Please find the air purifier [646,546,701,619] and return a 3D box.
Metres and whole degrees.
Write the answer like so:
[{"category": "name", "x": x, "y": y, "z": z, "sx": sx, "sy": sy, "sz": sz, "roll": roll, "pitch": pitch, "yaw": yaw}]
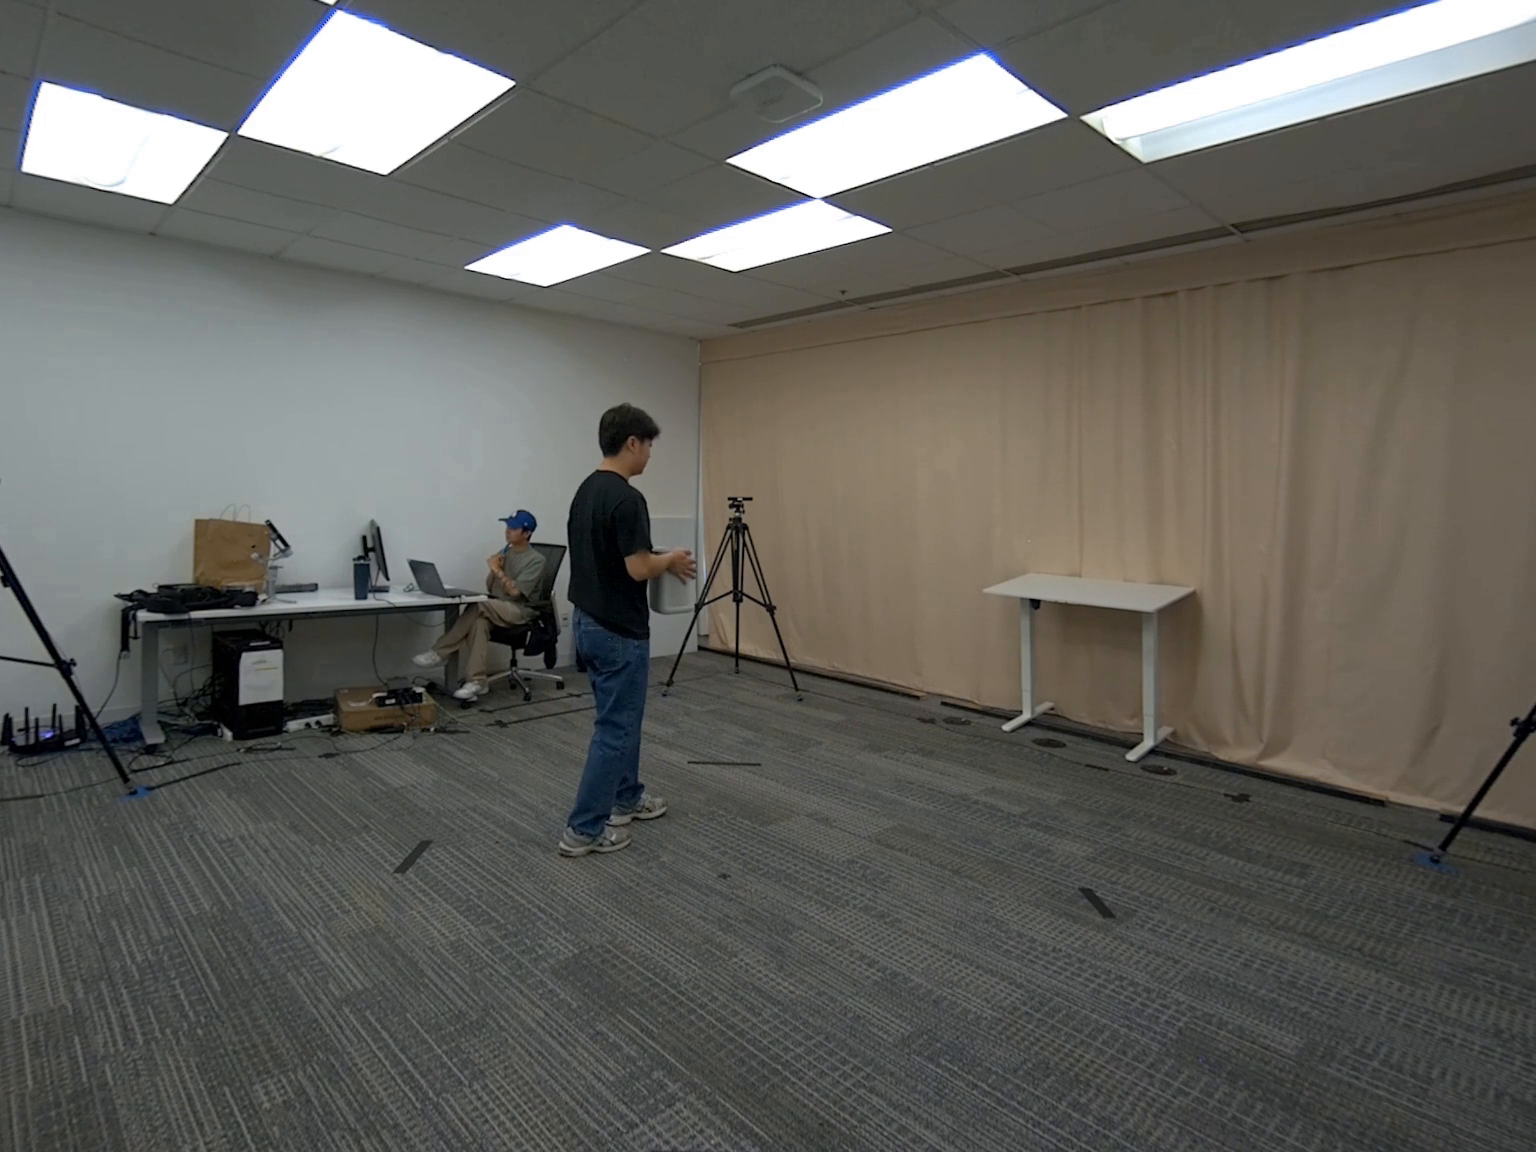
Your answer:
[{"category": "air purifier", "x": -0.402, "y": 0.020, "z": 3.510, "sx": 0.168, "sy": 0.264, "sz": 0.175, "roll": -5, "pitch": 8, "yaw": -30}]
